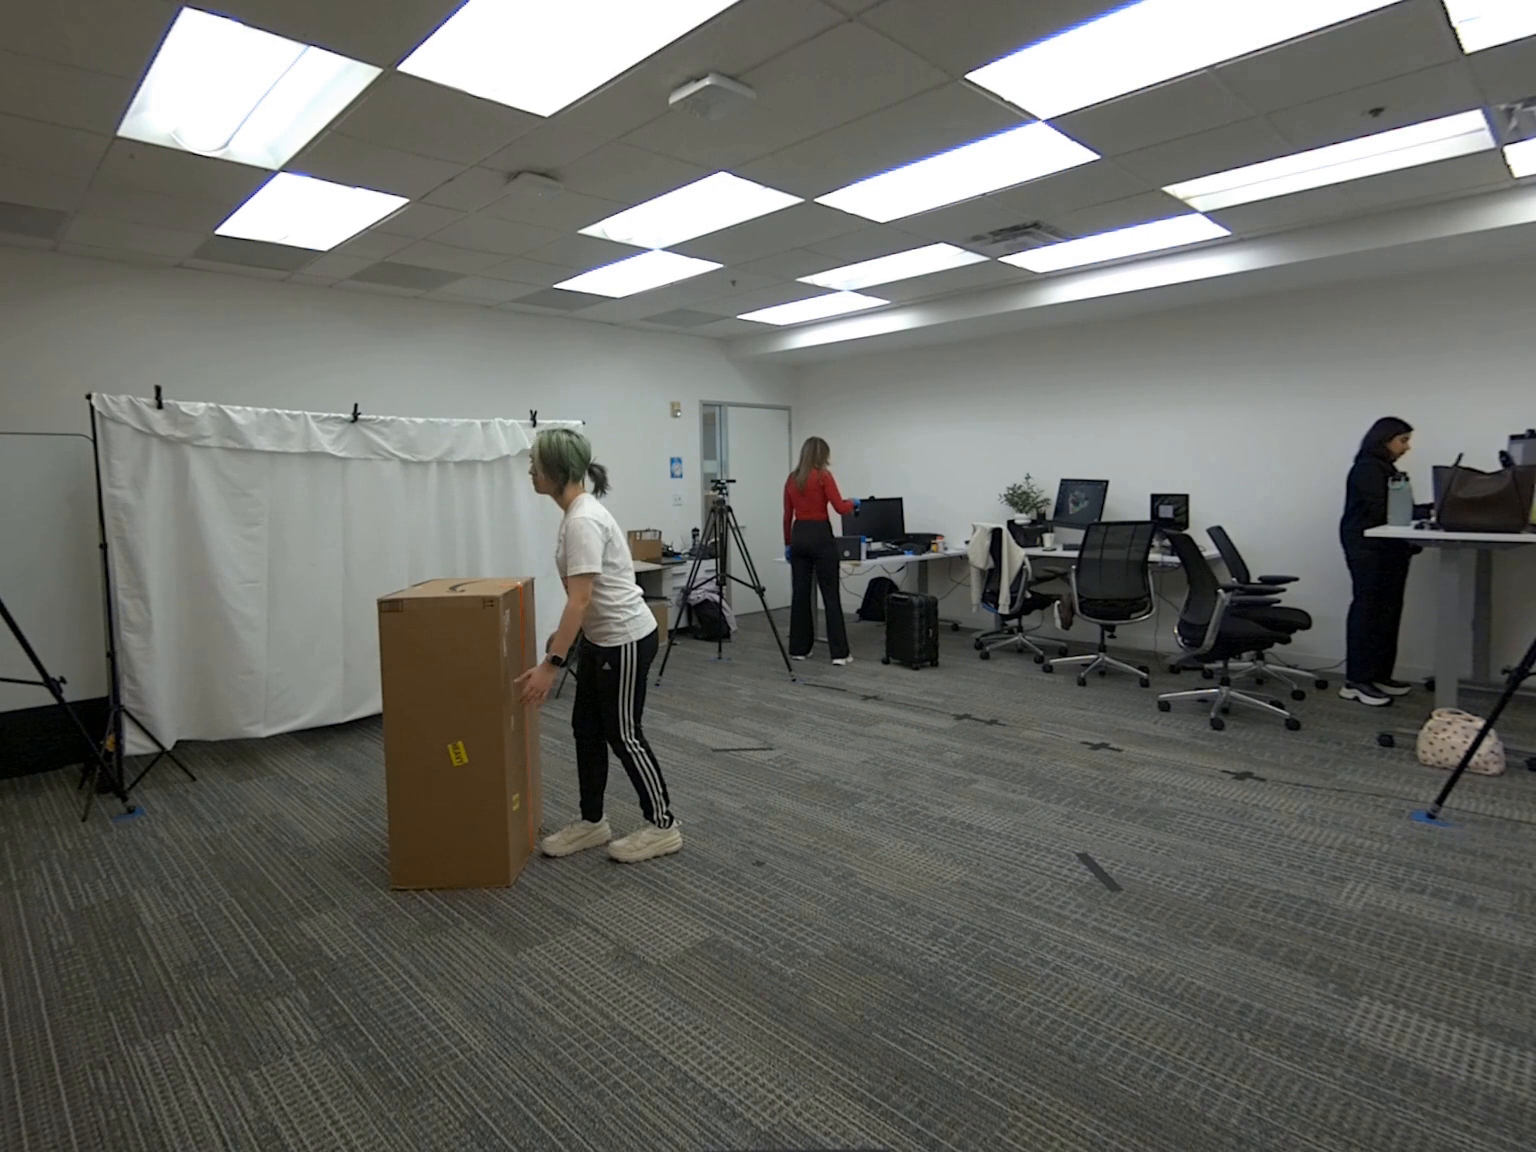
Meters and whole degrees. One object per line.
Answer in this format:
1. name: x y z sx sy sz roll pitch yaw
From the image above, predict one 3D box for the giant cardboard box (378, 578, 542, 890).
1. giant cardboard box: -1.129 0.549 3.226 0.446 1.024 0.587 -2 3 -3
